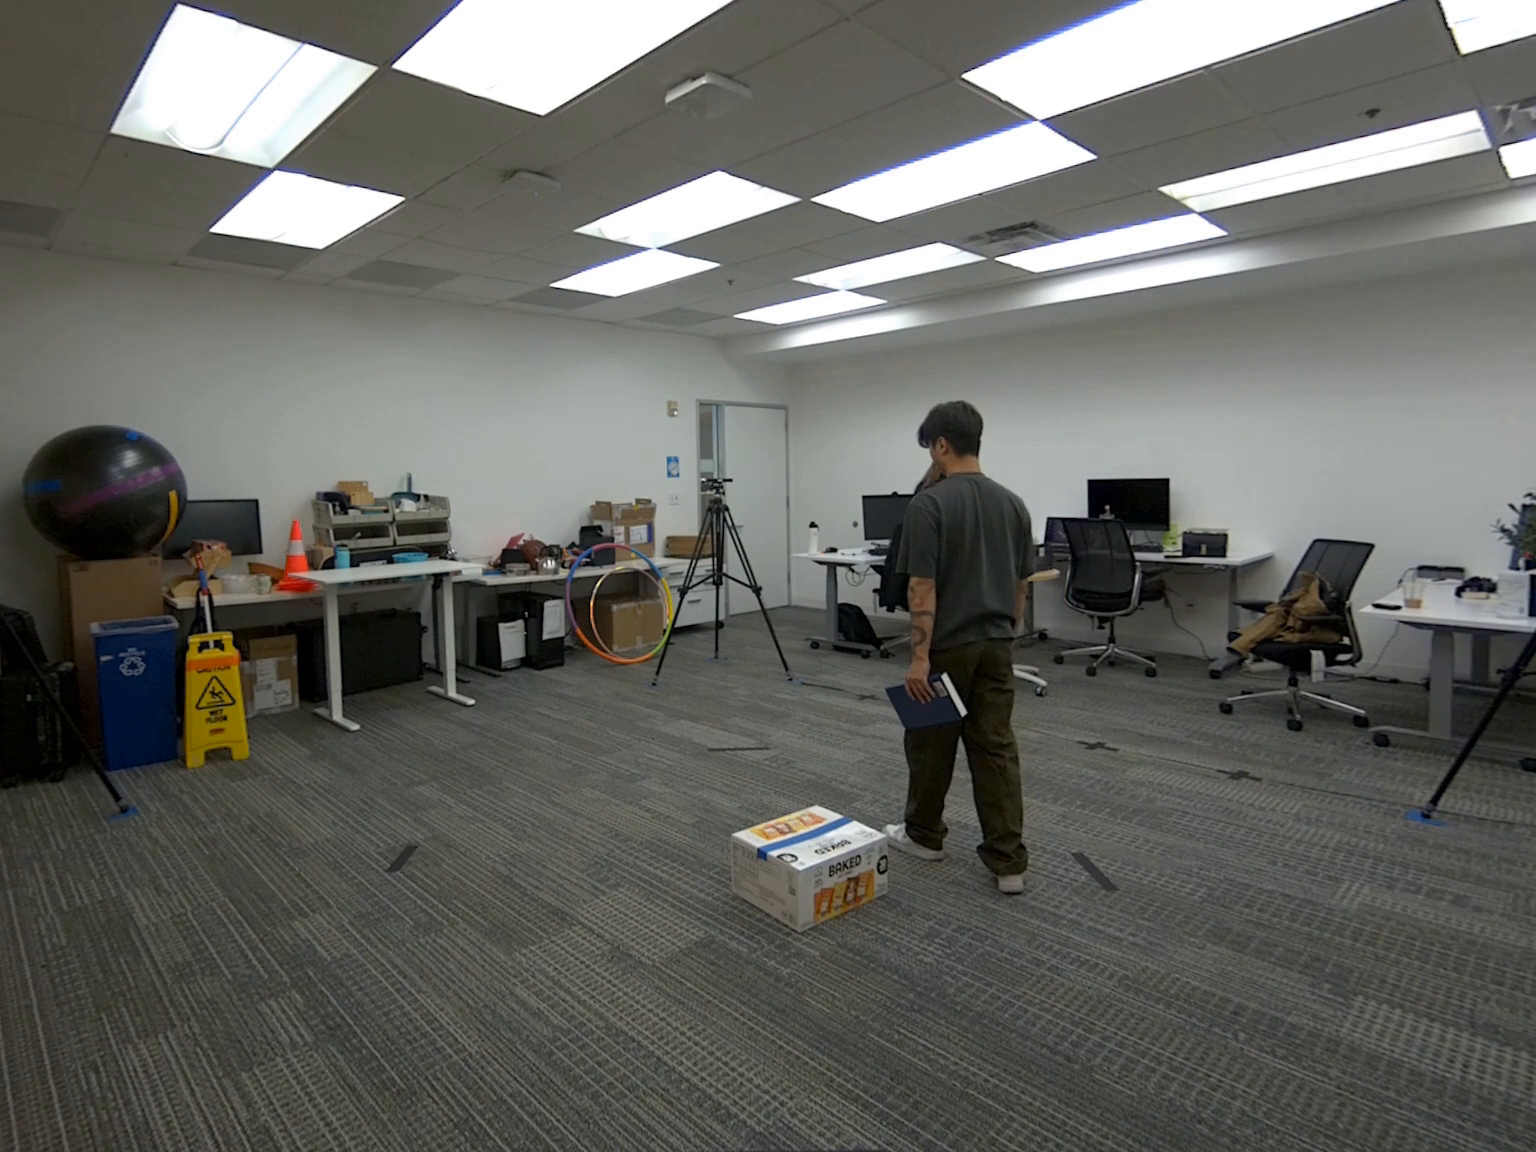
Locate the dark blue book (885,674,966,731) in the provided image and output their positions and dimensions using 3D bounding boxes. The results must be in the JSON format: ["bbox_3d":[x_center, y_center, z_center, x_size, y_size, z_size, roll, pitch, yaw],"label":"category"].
[{"bbox_3d":[0.536,0.425,2.926,0.249,0.163,0.044,-22,5,46],"label":"dark blue book"}]
